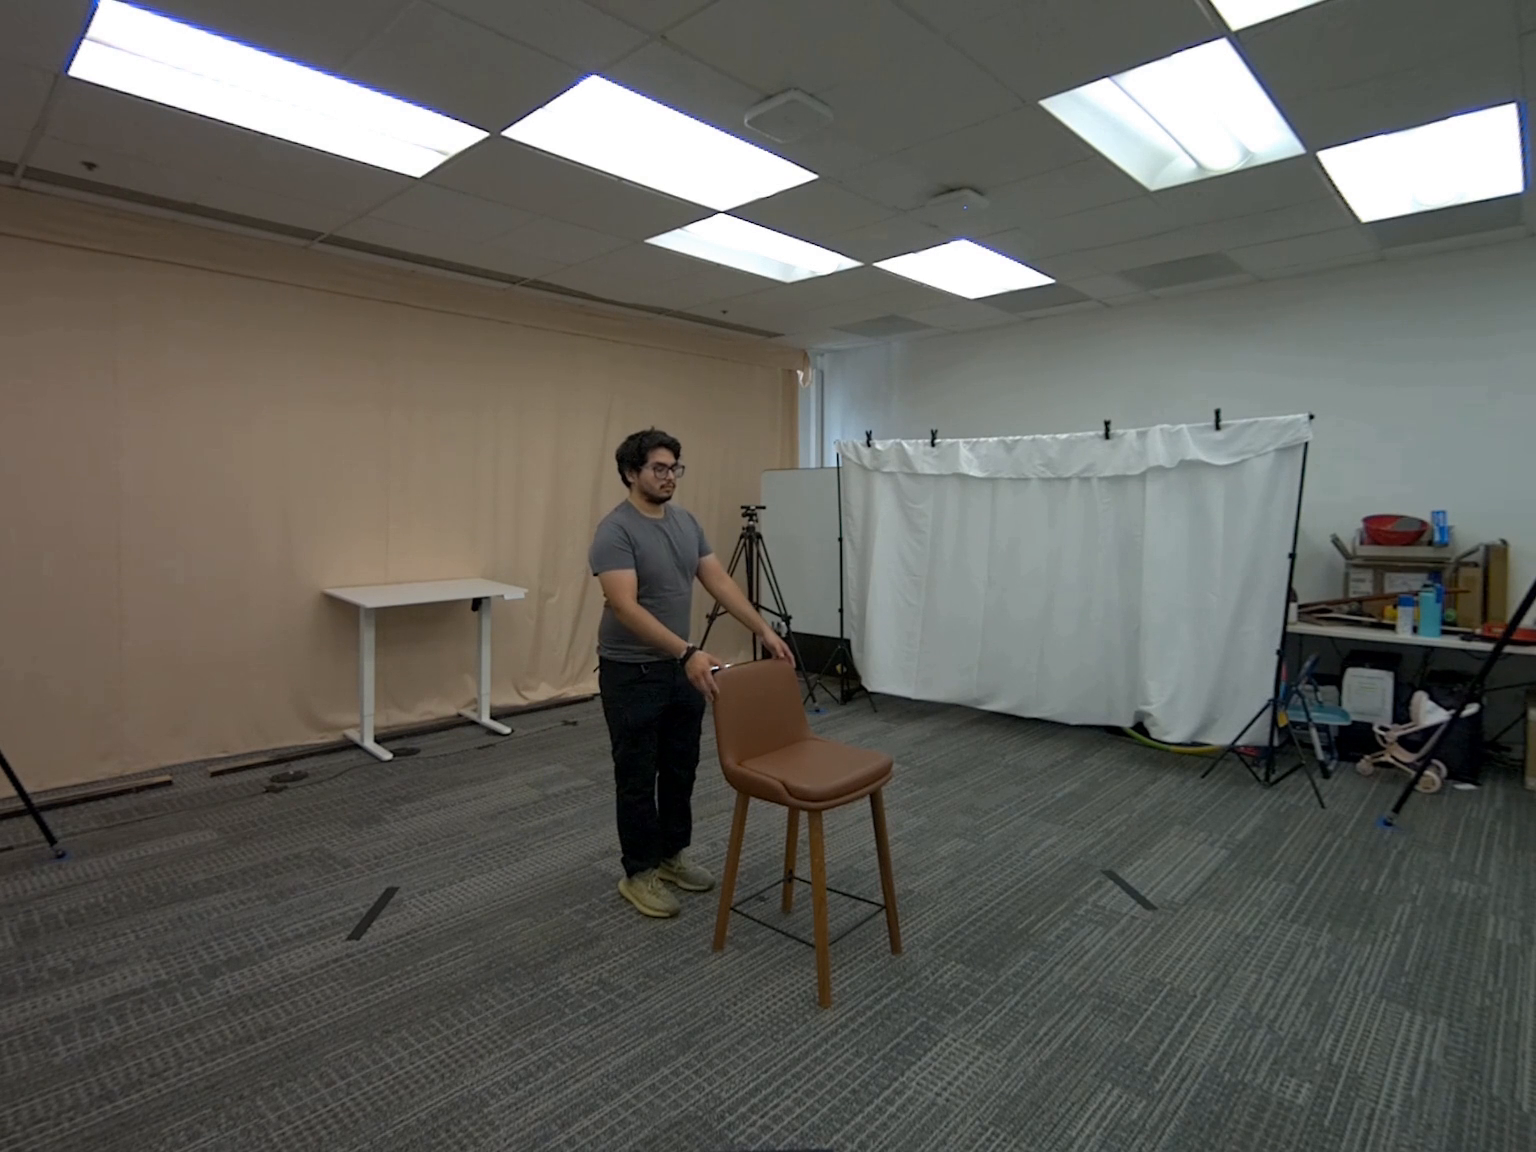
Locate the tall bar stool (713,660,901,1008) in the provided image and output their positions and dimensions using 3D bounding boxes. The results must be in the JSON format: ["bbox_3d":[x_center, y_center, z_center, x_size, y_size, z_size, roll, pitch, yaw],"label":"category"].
[{"bbox_3d":[0.111,0.737,2.611,0.483,0.889,0.442,0,3,42],"label":"tall bar stool"}]
